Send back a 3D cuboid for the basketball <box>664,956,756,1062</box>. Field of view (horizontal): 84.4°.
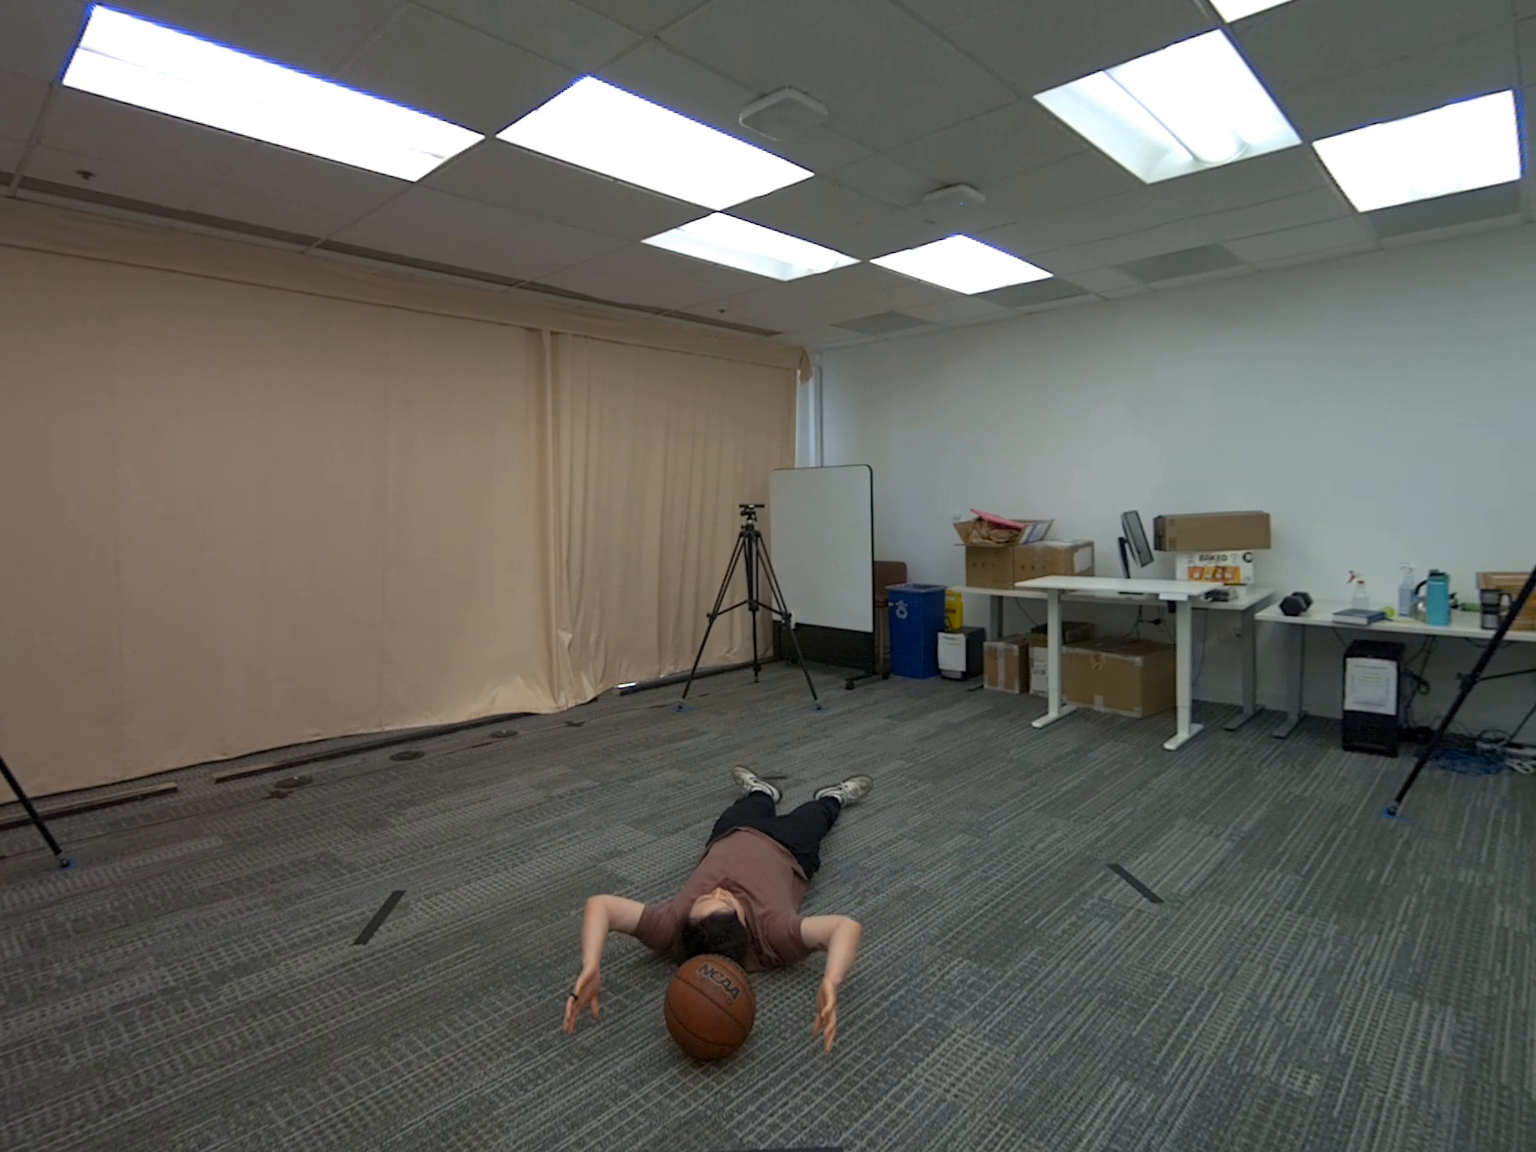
[{"bbox_3d":[-0.137,1.089,2.150,0.235,0.235,0.237,3,5,-2],"label":"basketball"}]
